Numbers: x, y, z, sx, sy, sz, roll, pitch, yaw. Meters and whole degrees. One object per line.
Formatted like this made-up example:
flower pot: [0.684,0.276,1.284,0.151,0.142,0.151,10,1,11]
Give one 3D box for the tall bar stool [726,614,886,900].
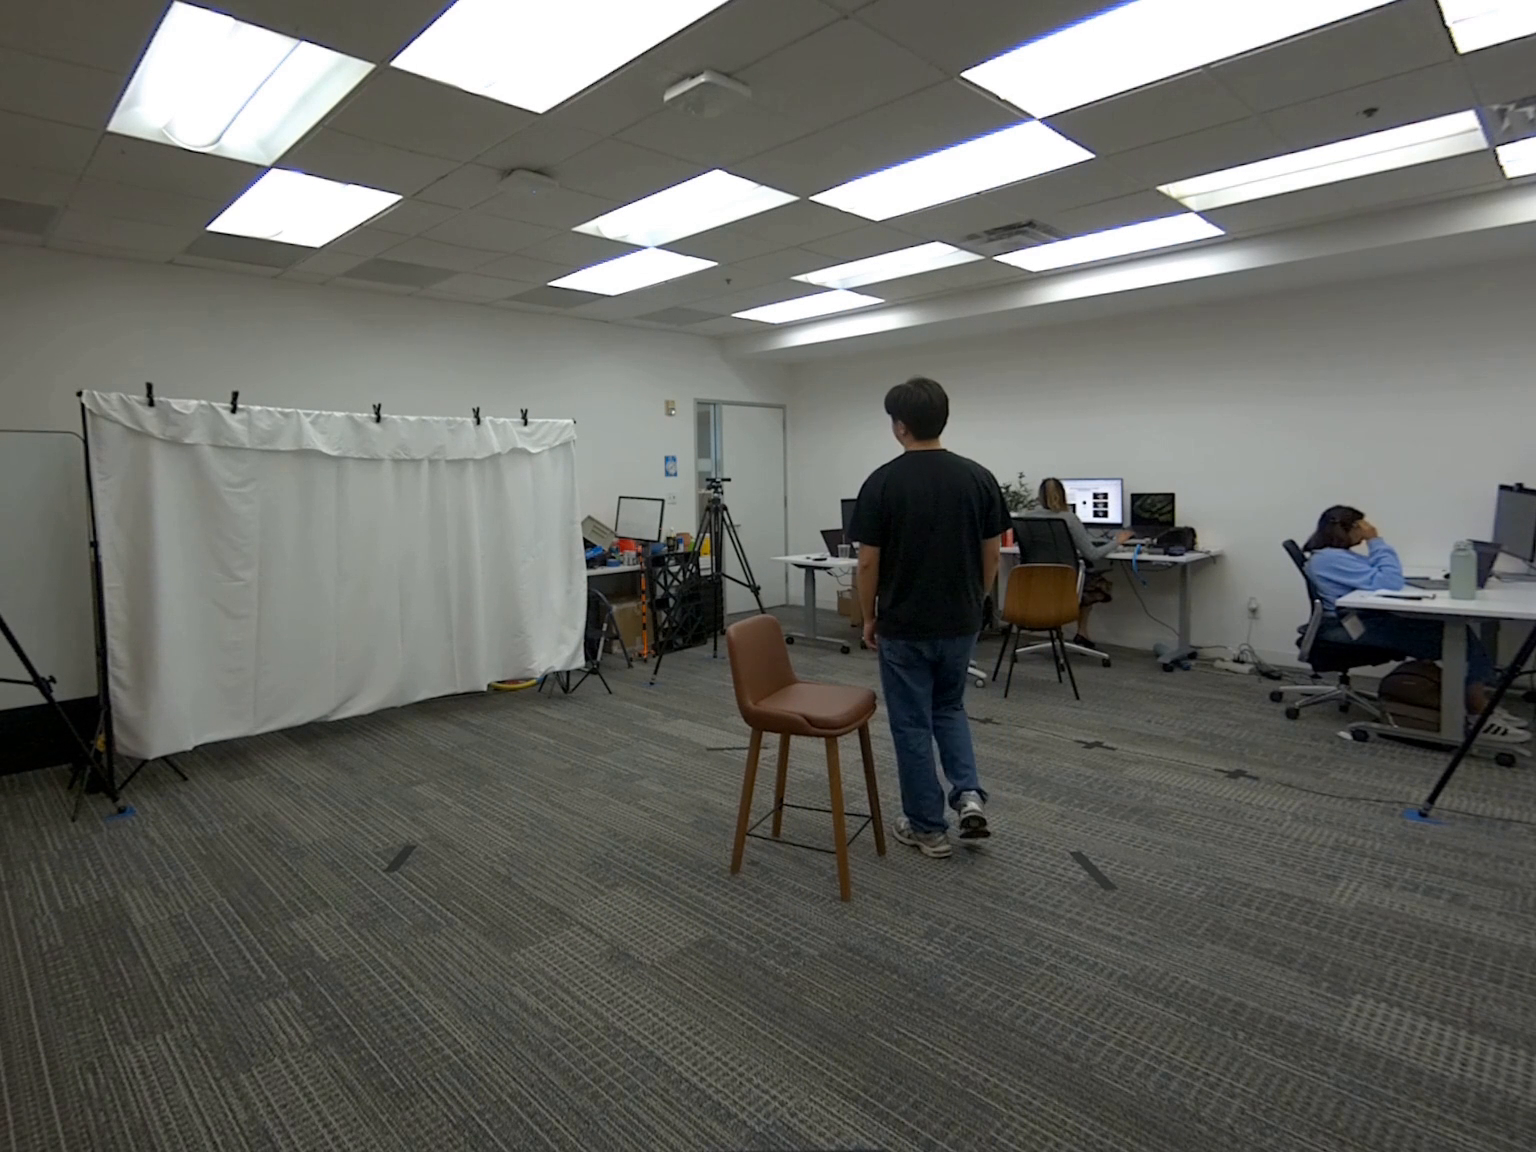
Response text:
tall bar stool: [0.139,0.609,3.067,0.479,0.888,0.446,-1,3,28]
